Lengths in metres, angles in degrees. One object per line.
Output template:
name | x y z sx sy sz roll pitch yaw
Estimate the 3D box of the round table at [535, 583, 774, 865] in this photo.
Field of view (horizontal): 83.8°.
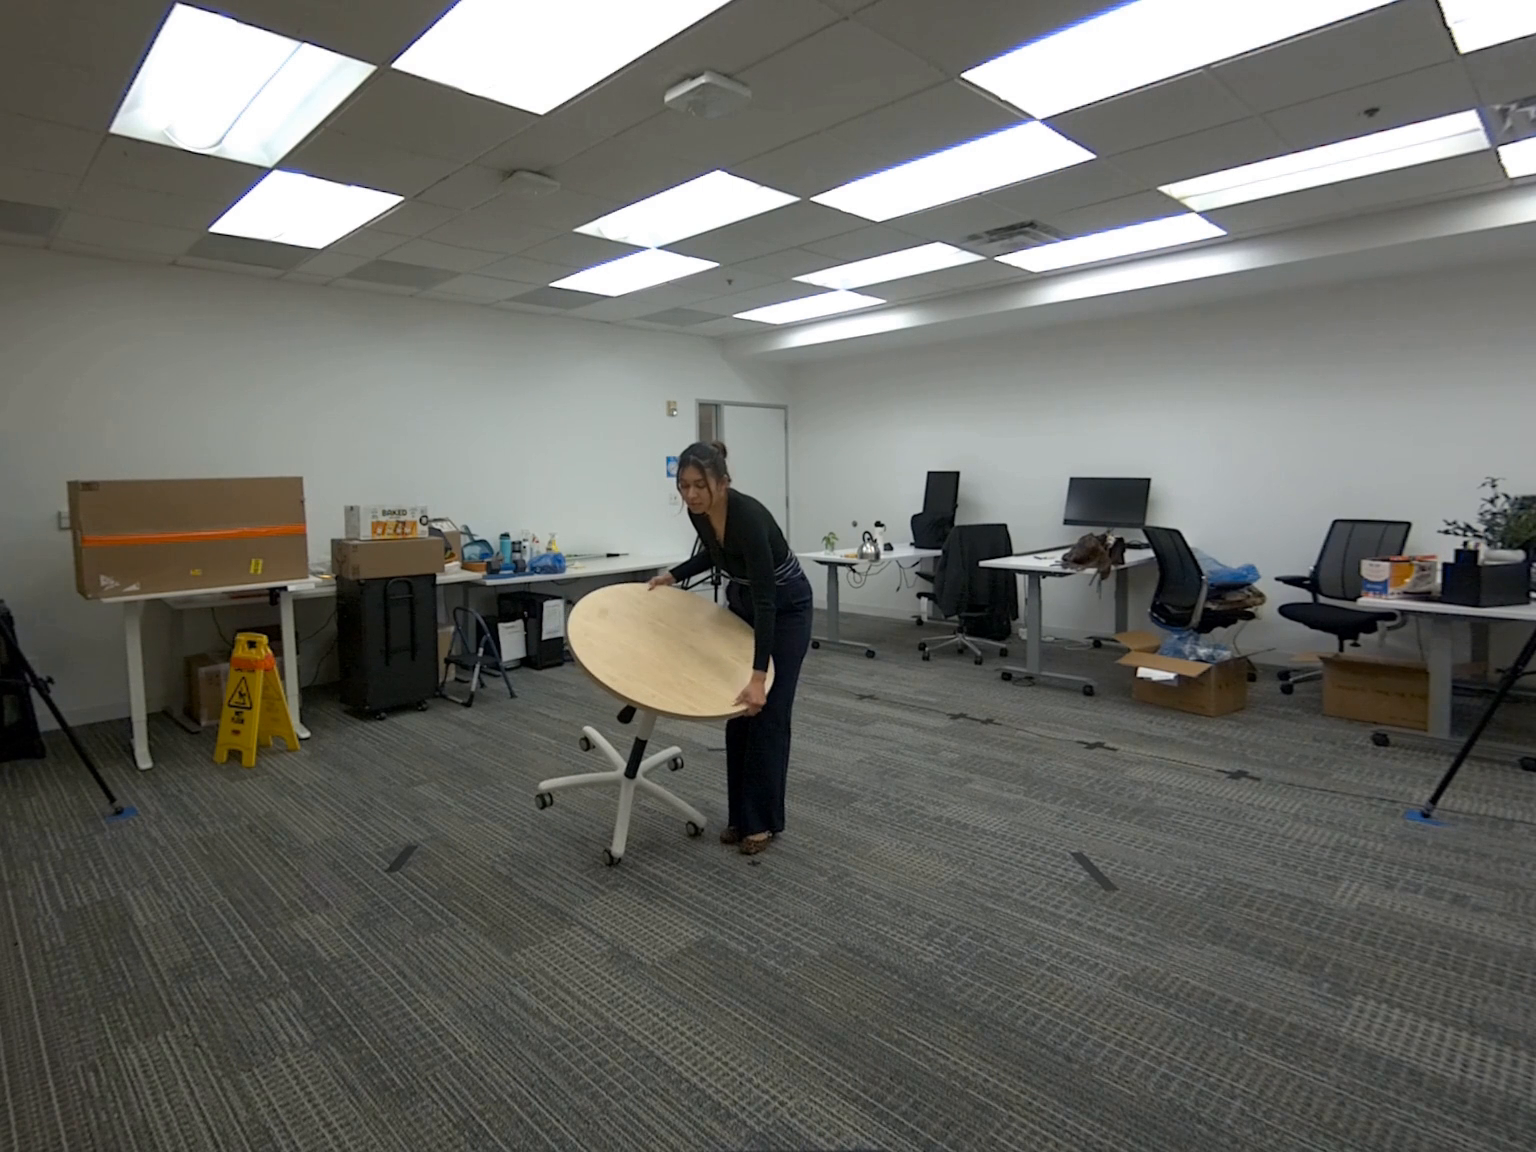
round table | -0.463 0.569 3.248 0.757 0.784 0.782 14 27 -9
